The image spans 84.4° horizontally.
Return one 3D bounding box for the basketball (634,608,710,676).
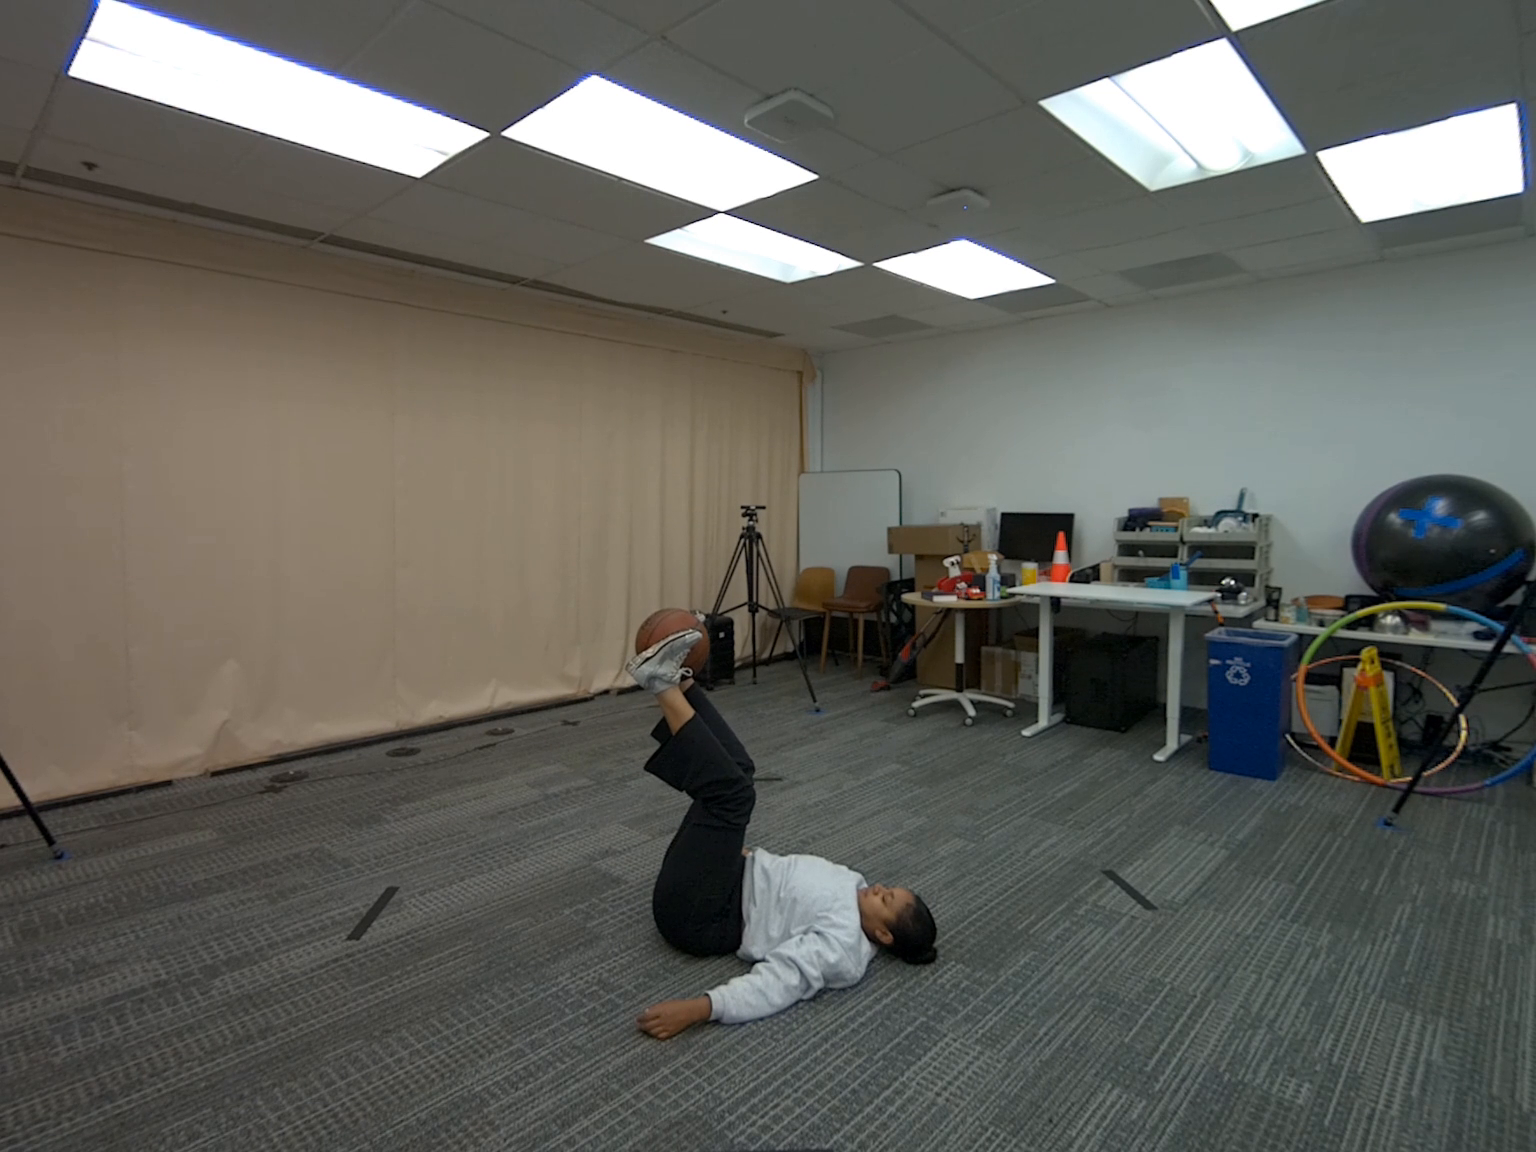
[{"bbox_3d":[-0.311,0.225,2.701,0.236,0.236,0.236,2,0,-2],"label":"basketball"}]
